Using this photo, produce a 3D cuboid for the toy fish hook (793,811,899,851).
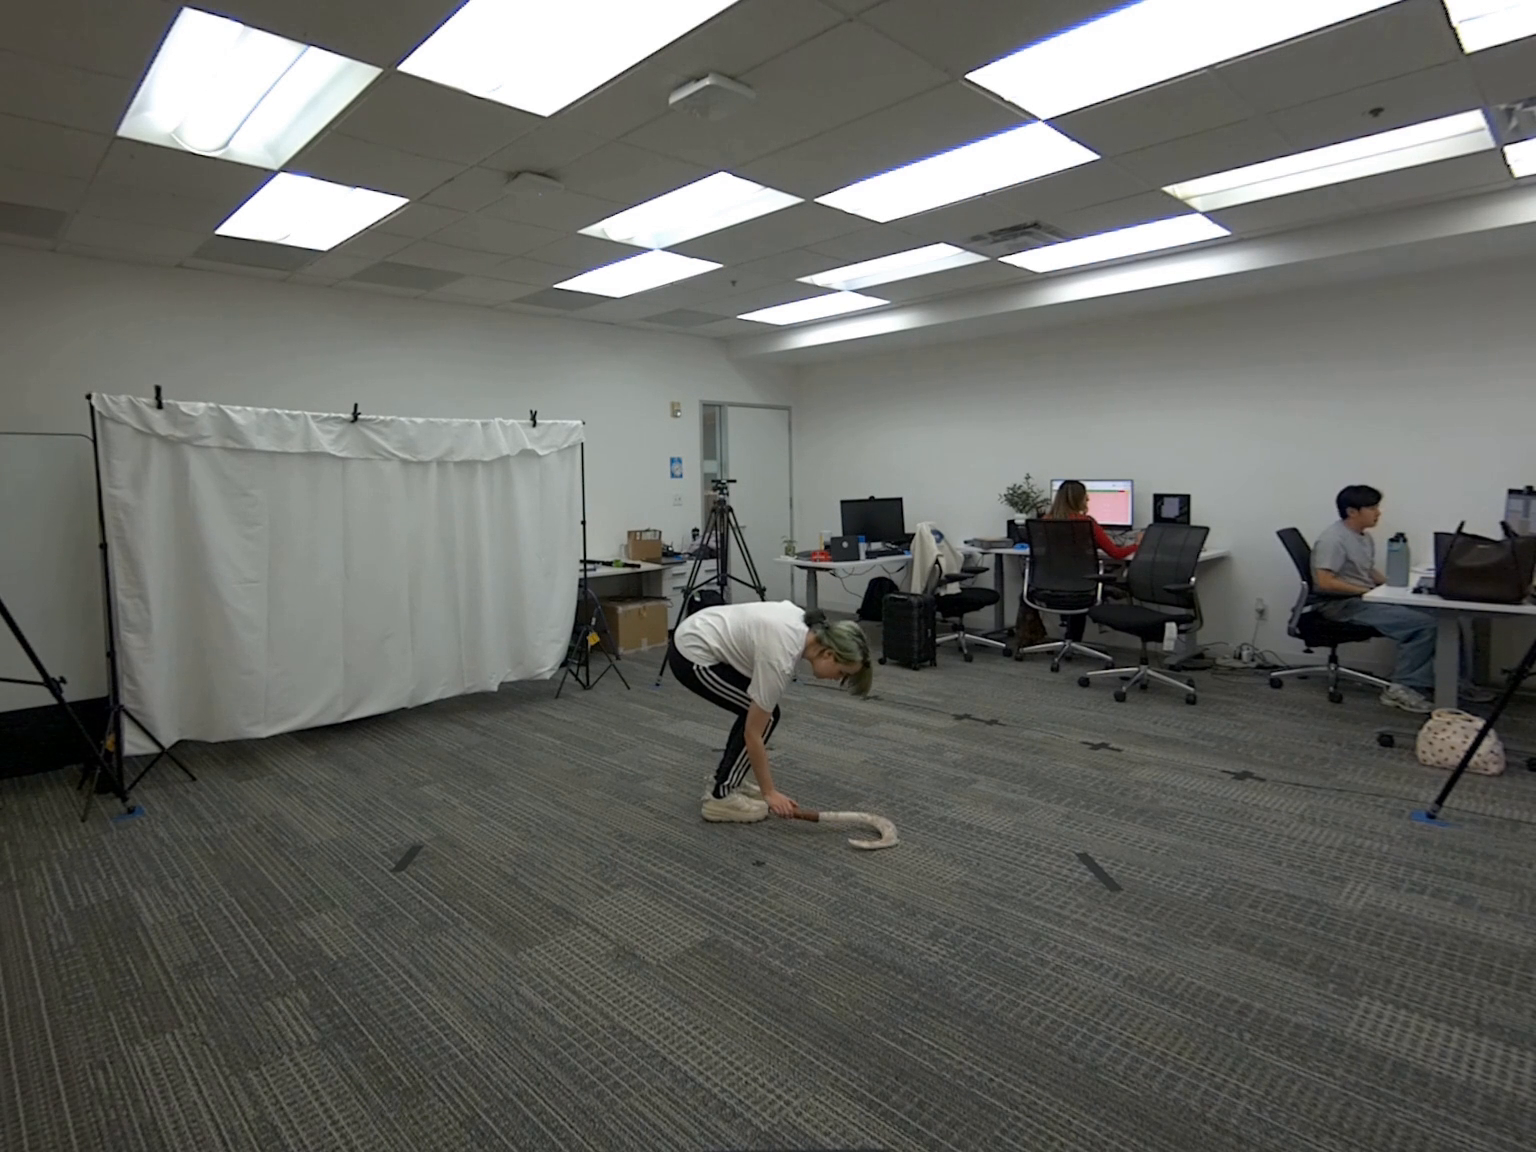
[{"bbox_3d":[0.250,0.954,3.310,0.509,0.048,0.225,5,10,5],"label":"toy fish hook"}]
